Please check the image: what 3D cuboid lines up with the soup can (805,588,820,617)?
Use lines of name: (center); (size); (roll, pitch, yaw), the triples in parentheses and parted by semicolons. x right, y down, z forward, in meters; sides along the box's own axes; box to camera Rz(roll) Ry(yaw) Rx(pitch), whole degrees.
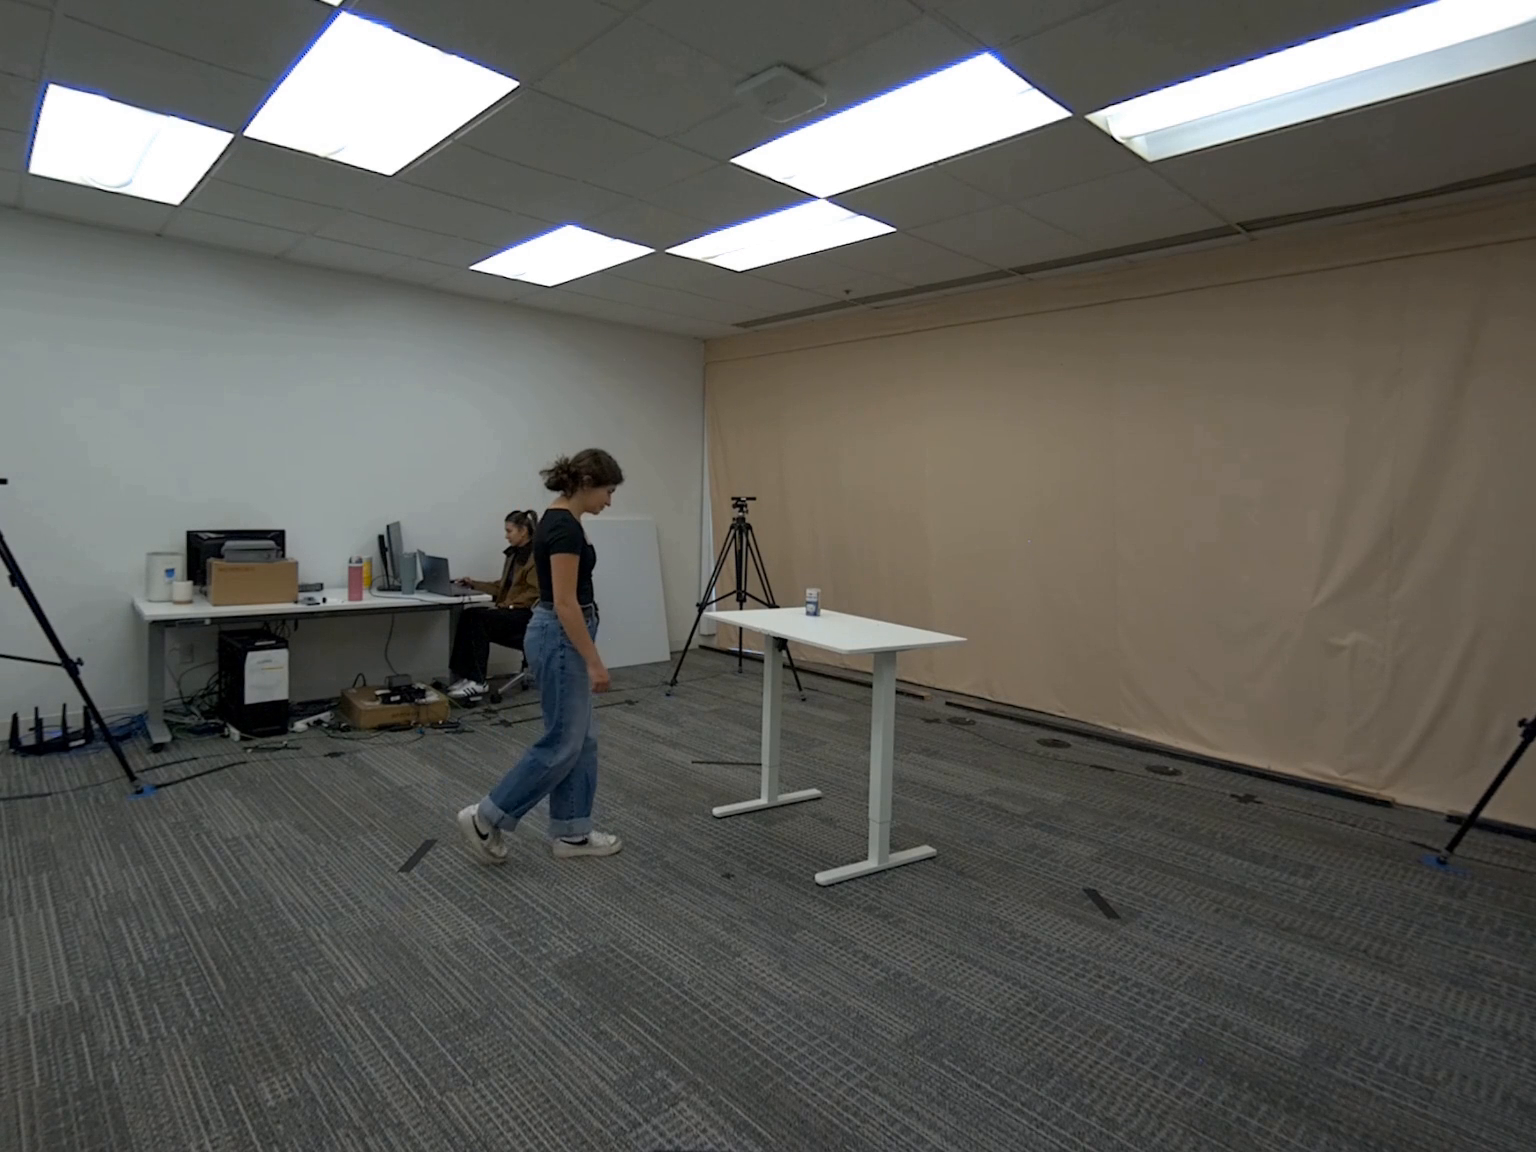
soup can: (0.193, 0.120, 3.755); (0.067, 0.121, 0.067); (2, 0, -1)
